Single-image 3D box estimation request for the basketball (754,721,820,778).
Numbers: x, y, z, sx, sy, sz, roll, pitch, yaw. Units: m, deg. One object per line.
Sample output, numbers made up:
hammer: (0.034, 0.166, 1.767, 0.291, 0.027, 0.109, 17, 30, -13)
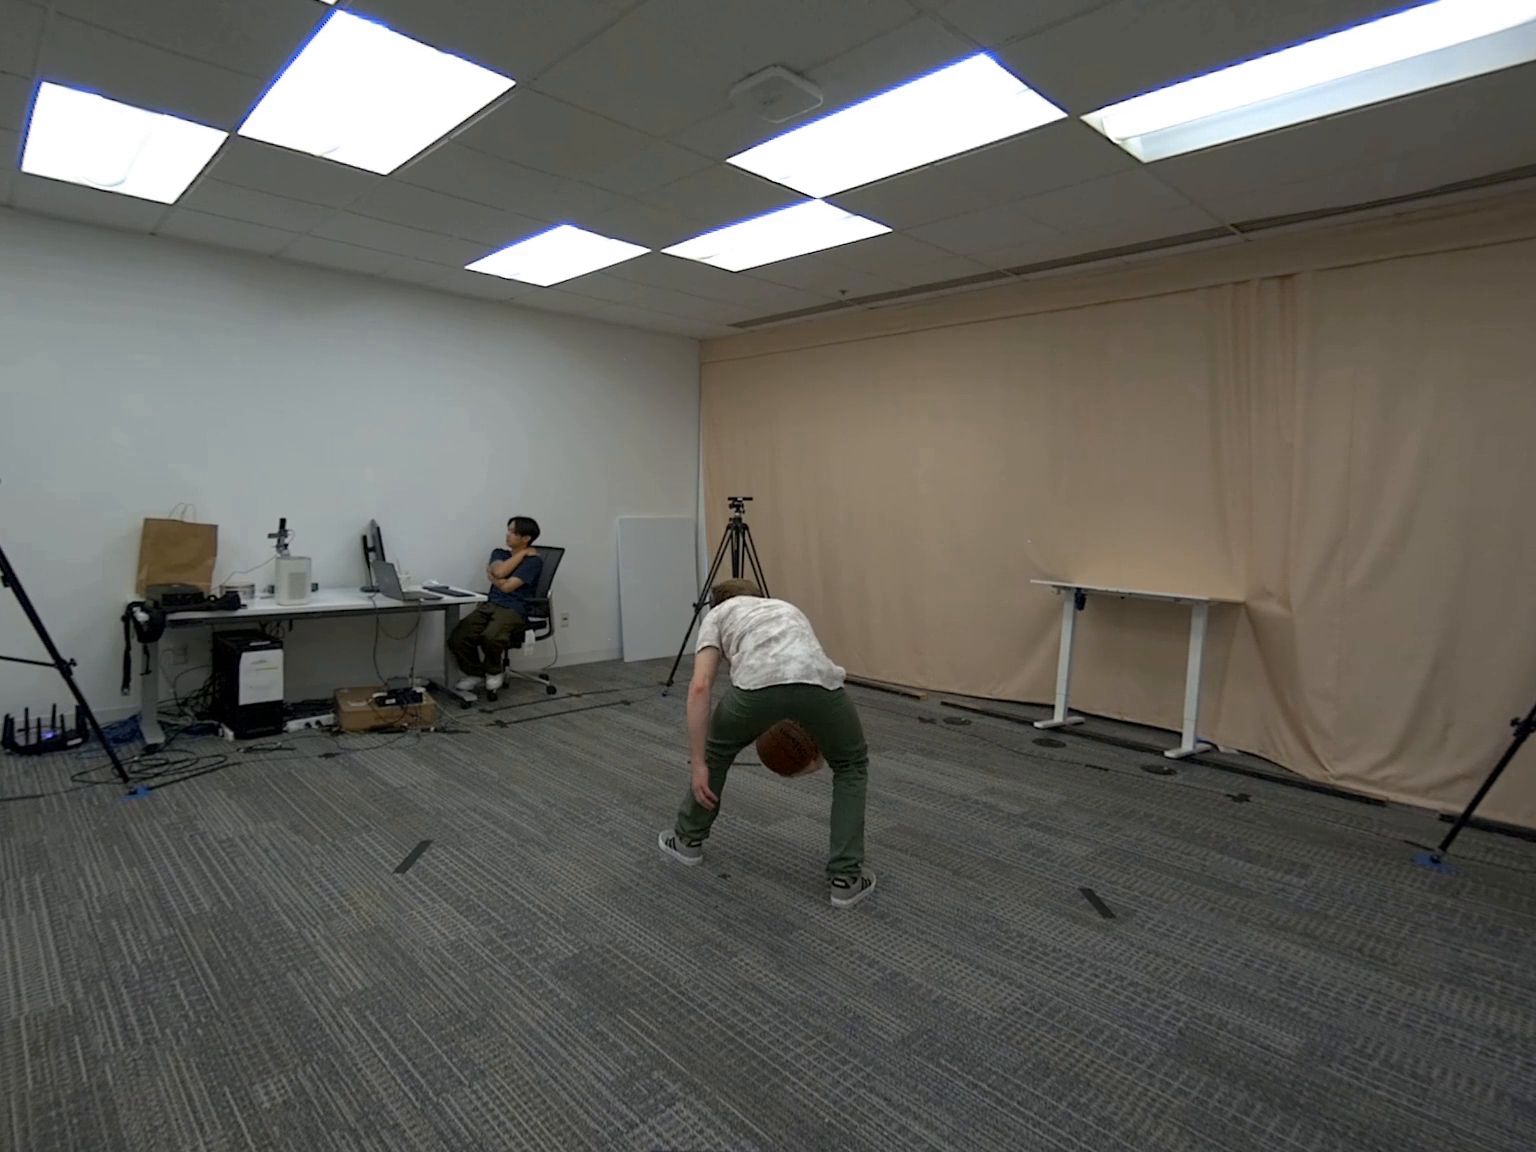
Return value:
basketball: (0.056, 0.667, 3.364, 0.236, 0.235, 0.237, 1, 4, -1)
